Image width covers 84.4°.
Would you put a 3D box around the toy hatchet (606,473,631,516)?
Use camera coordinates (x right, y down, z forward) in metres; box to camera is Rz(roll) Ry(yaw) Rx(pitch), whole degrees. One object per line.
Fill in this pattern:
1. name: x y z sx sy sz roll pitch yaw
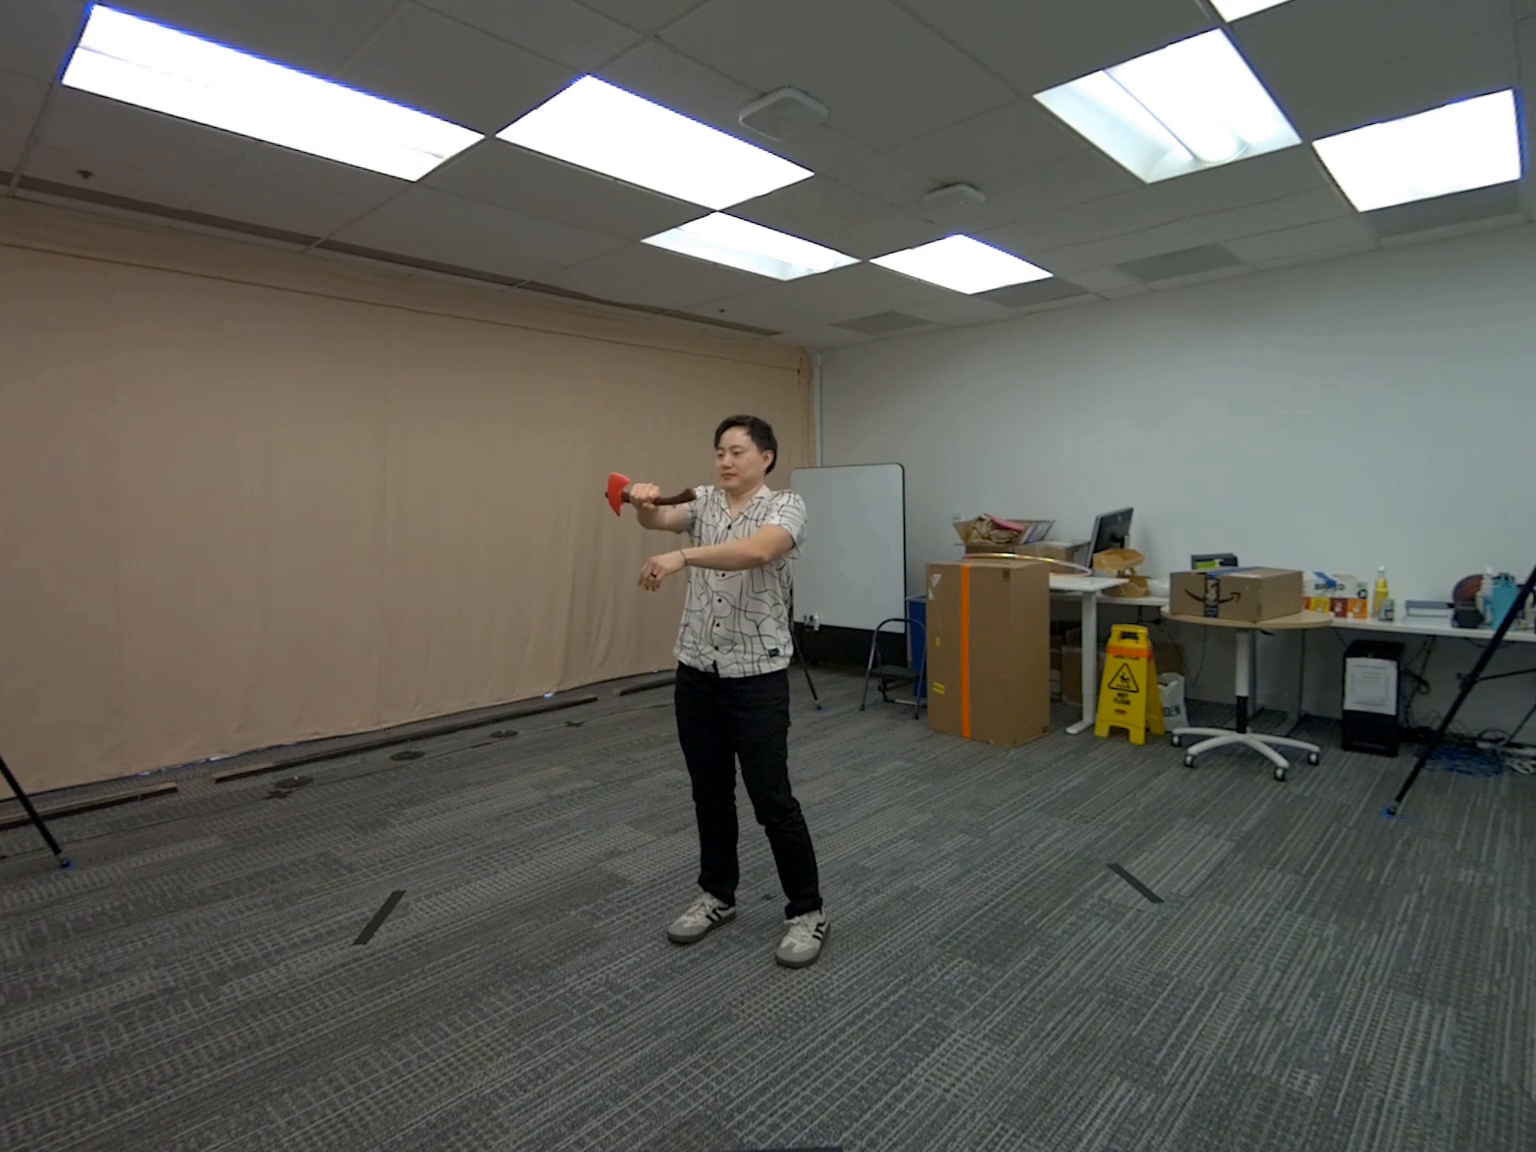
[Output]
1. toy hatchet: -0.321 -0.232 2.273 0.277 0.128 0.029 -8 27 29
